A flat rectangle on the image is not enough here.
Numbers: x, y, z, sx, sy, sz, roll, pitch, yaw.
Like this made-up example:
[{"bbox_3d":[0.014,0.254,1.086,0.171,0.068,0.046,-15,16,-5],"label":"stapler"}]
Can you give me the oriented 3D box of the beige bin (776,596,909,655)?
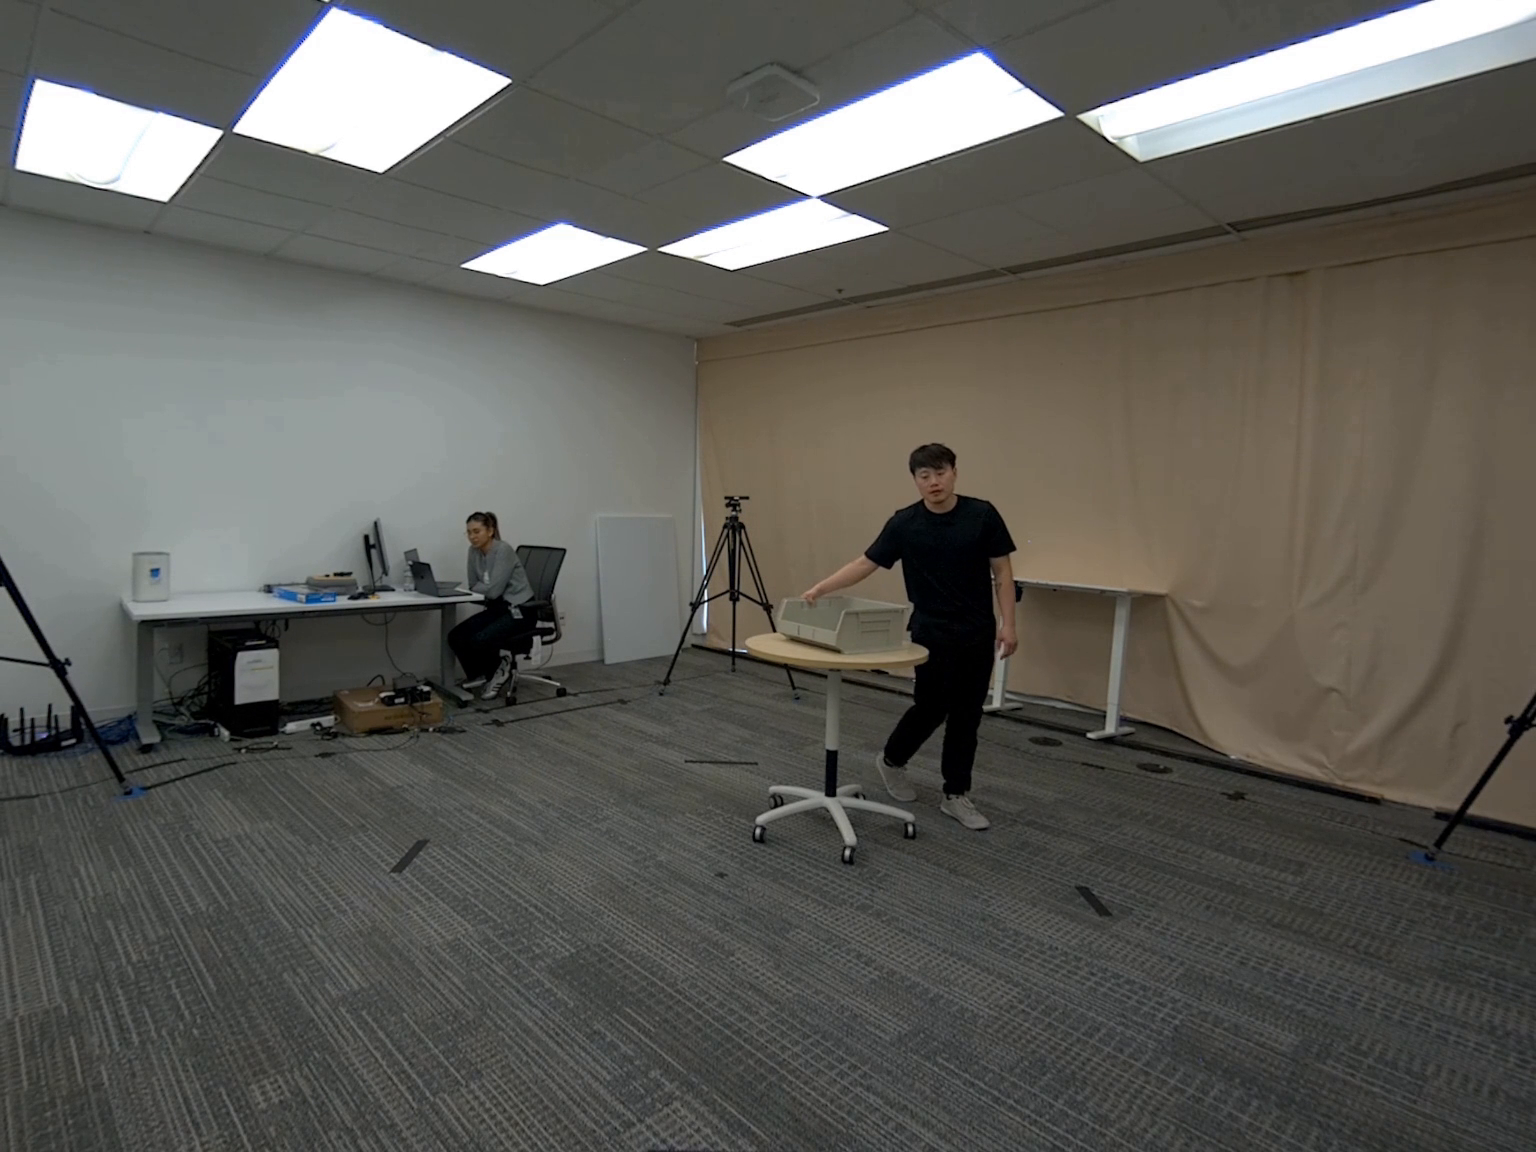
[{"bbox_3d":[0.303,0.202,3.573,0.369,0.188,0.432,0,4,-33],"label":"beige bin"}]
